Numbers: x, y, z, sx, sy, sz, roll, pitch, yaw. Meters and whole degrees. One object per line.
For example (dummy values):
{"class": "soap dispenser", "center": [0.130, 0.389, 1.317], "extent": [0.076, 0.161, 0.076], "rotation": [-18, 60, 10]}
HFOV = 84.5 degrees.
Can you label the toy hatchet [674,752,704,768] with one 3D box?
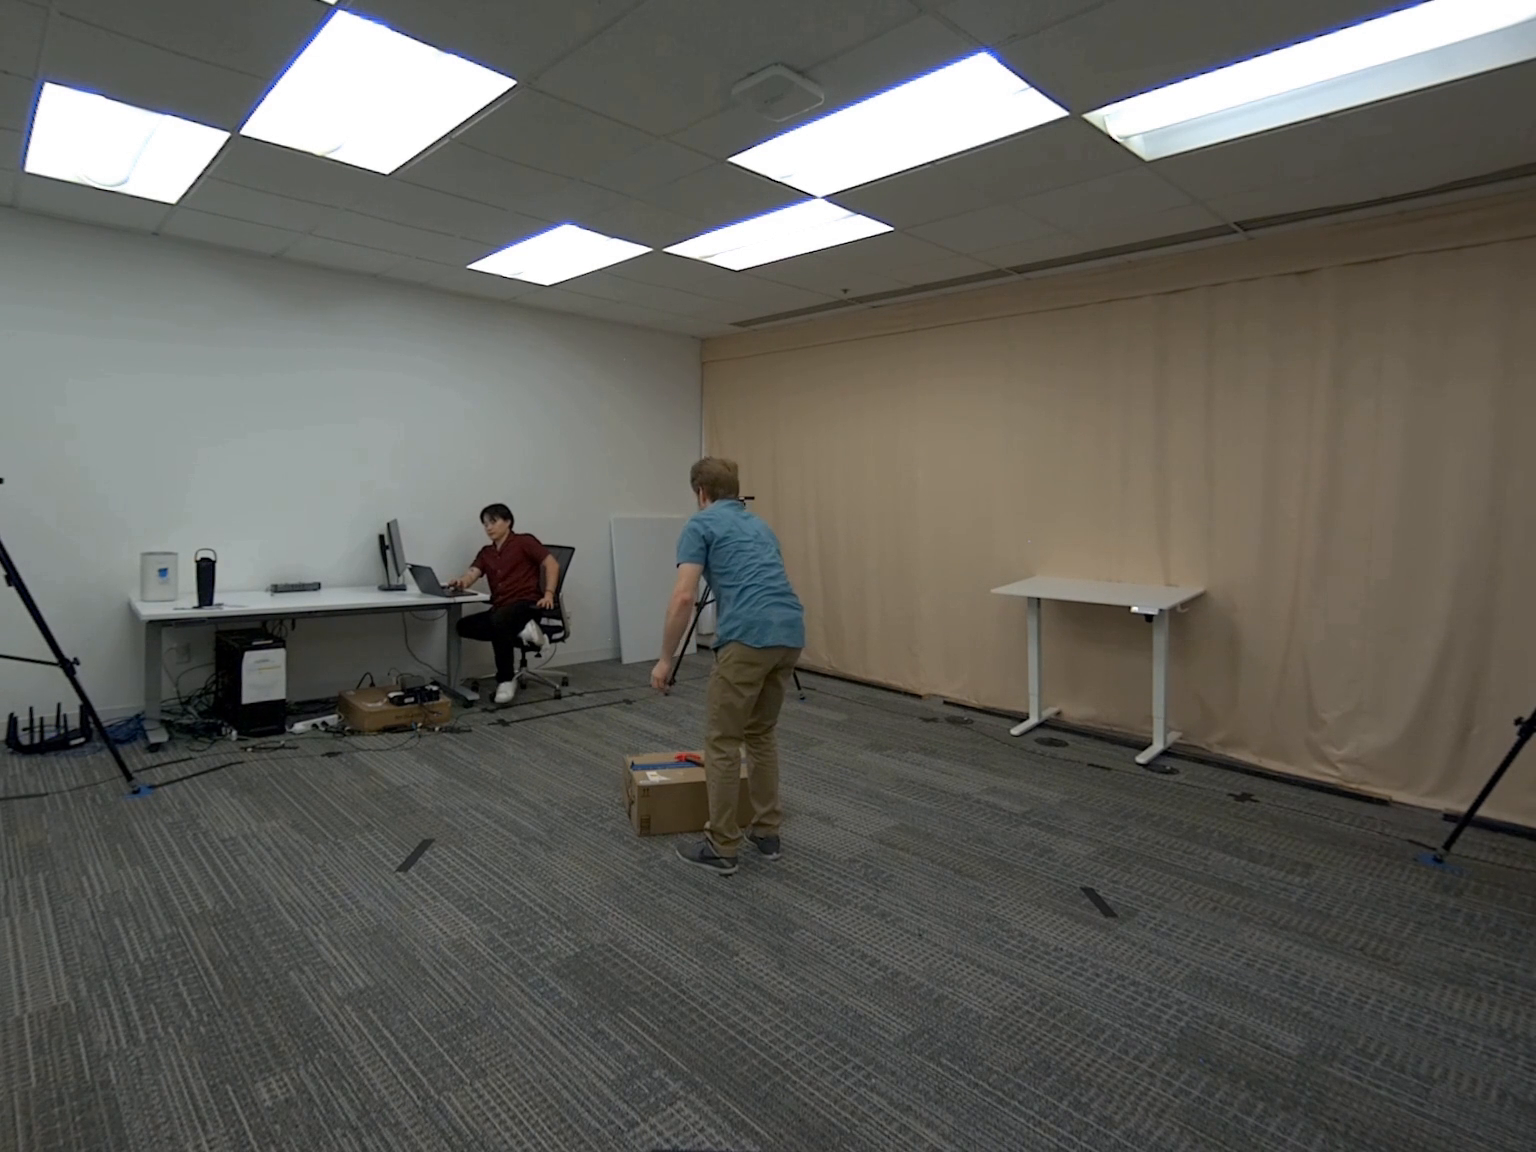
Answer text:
{"class": "toy hatchet", "center": [-0.280, 0.813, 3.703], "extent": [0.275, 0.029, 0.128], "rotation": [7, 1, 24]}
